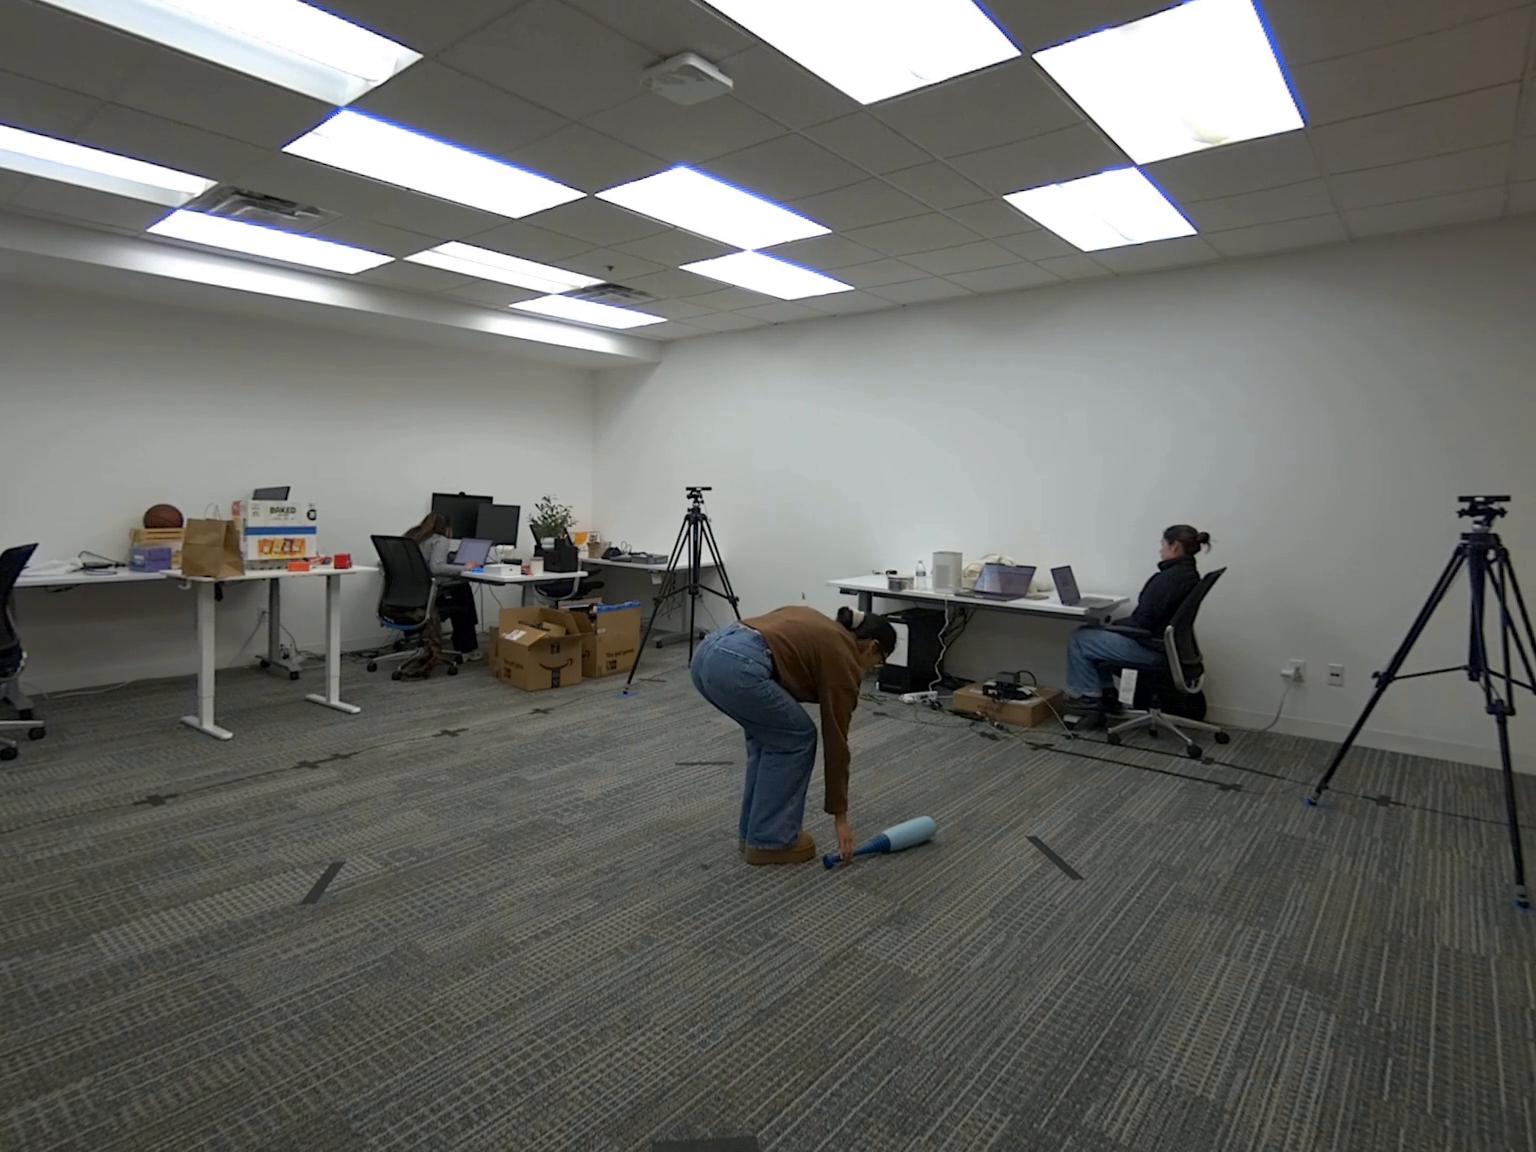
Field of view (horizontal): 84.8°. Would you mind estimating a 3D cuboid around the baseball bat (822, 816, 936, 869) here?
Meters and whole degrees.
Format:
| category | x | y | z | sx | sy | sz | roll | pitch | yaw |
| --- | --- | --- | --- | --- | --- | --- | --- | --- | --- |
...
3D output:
| category | x | y | z | sx | sy | sz | roll | pitch | yaw |
| --- | --- | --- | --- | --- | --- | --- | --- | --- | --- |
| baseball bat | 0.429 | 1.030 | 3.271 | 0.529 | 0.088 | 0.092 | -7 | 8 | -32 |
